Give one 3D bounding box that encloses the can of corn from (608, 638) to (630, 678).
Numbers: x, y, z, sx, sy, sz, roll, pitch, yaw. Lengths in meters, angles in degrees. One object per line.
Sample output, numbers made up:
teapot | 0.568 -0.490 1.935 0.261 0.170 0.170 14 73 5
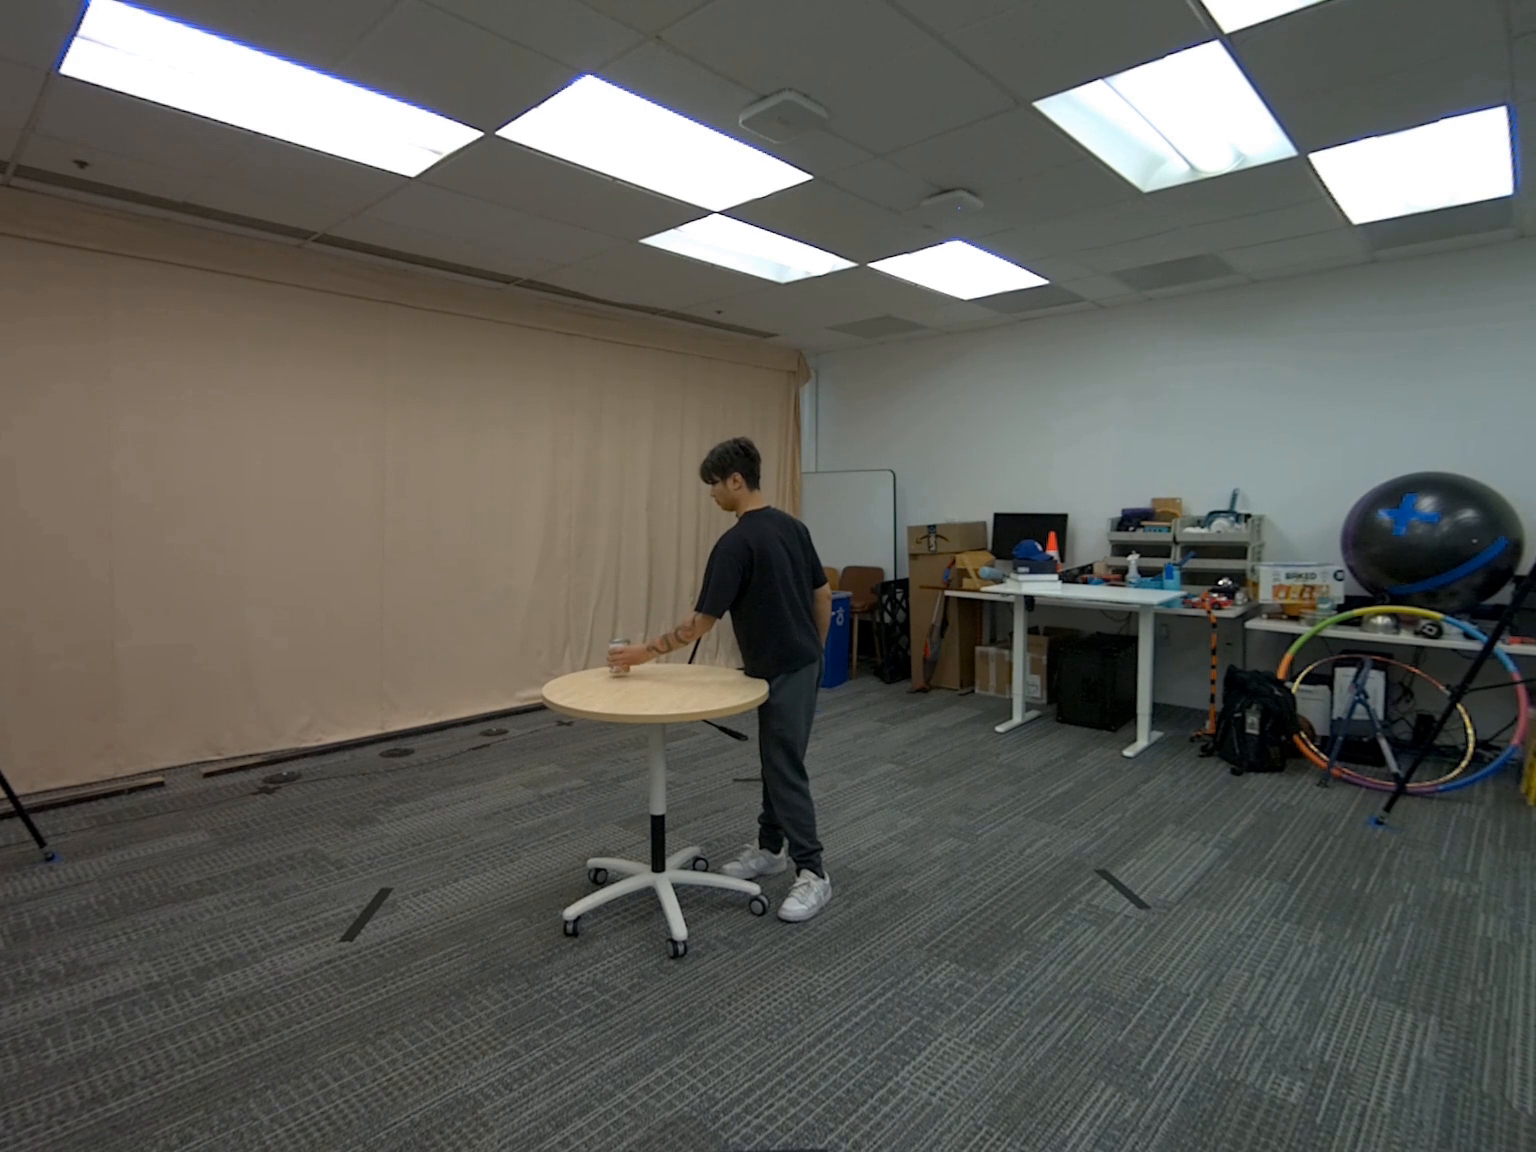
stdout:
can of corn | -0.529 0.290 3.004 0.074 0.110 0.074 -1 6 -2
